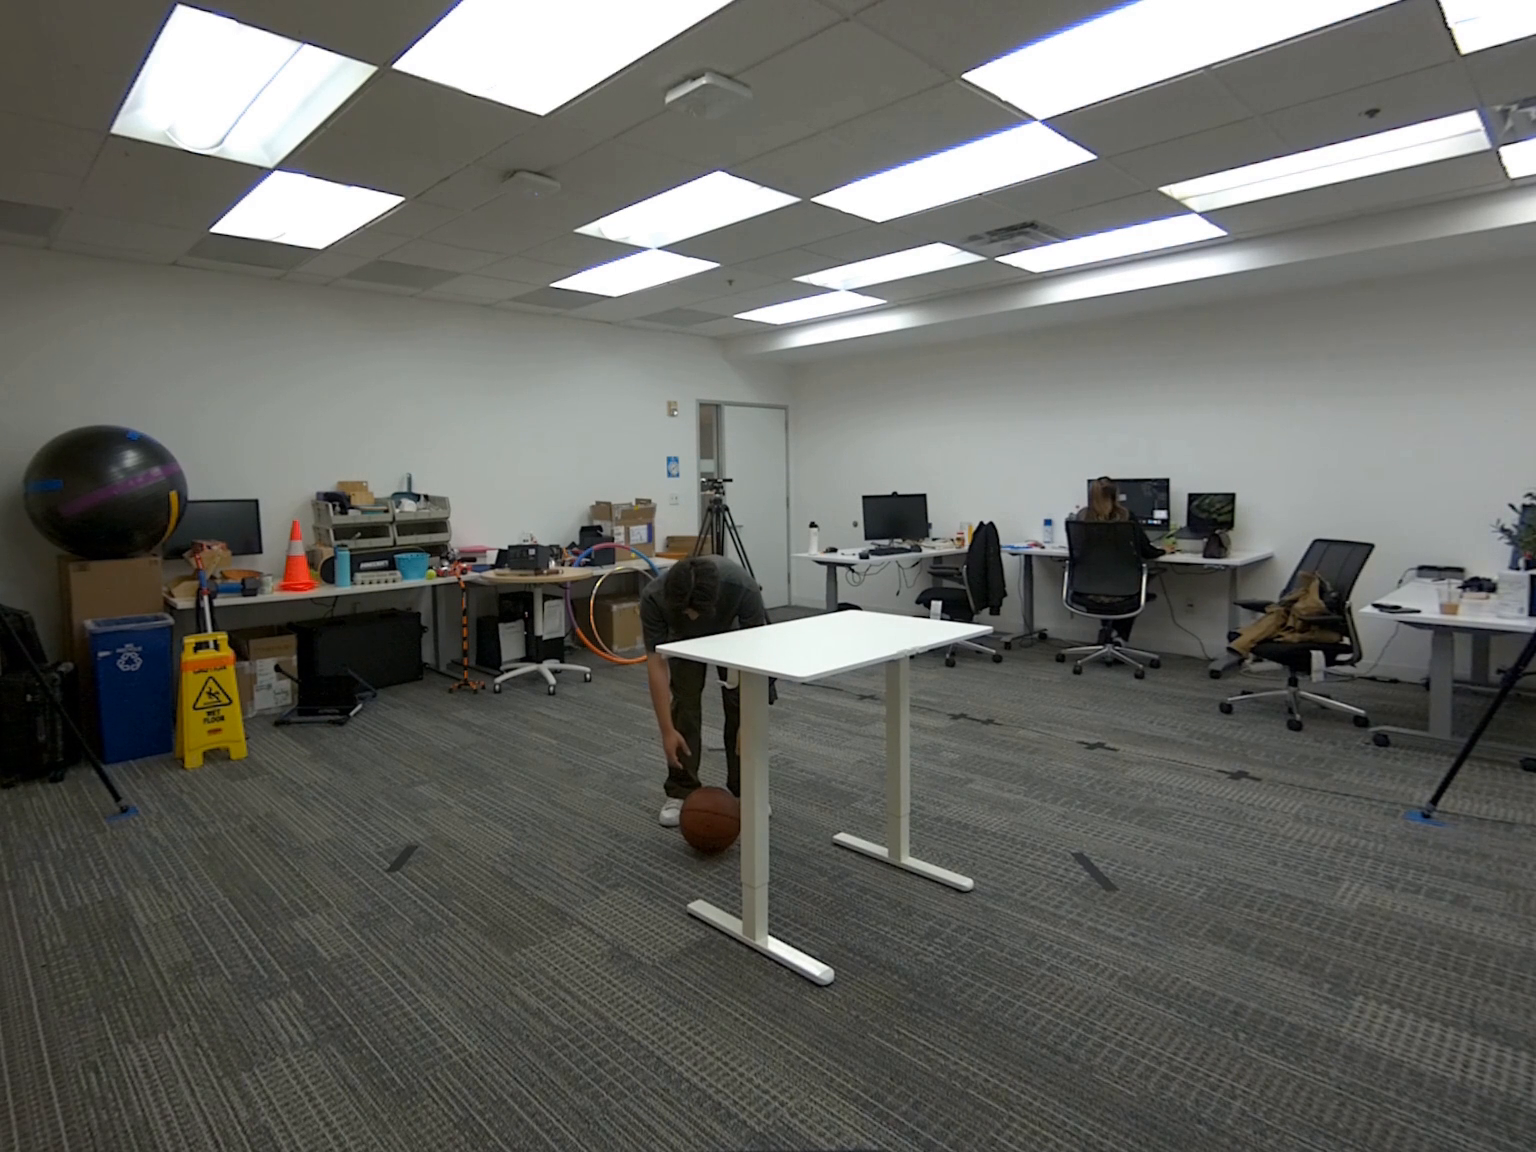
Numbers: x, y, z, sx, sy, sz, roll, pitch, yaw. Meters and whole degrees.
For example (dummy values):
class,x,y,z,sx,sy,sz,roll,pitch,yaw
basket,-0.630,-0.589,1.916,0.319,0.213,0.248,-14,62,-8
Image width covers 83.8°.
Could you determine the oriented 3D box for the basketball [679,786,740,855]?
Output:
class,x,y,z,sx,sy,sz,roll,pitch,yaw
basketball,-0.219,0.916,3.215,0.236,0.235,0.237,-1,5,-2
